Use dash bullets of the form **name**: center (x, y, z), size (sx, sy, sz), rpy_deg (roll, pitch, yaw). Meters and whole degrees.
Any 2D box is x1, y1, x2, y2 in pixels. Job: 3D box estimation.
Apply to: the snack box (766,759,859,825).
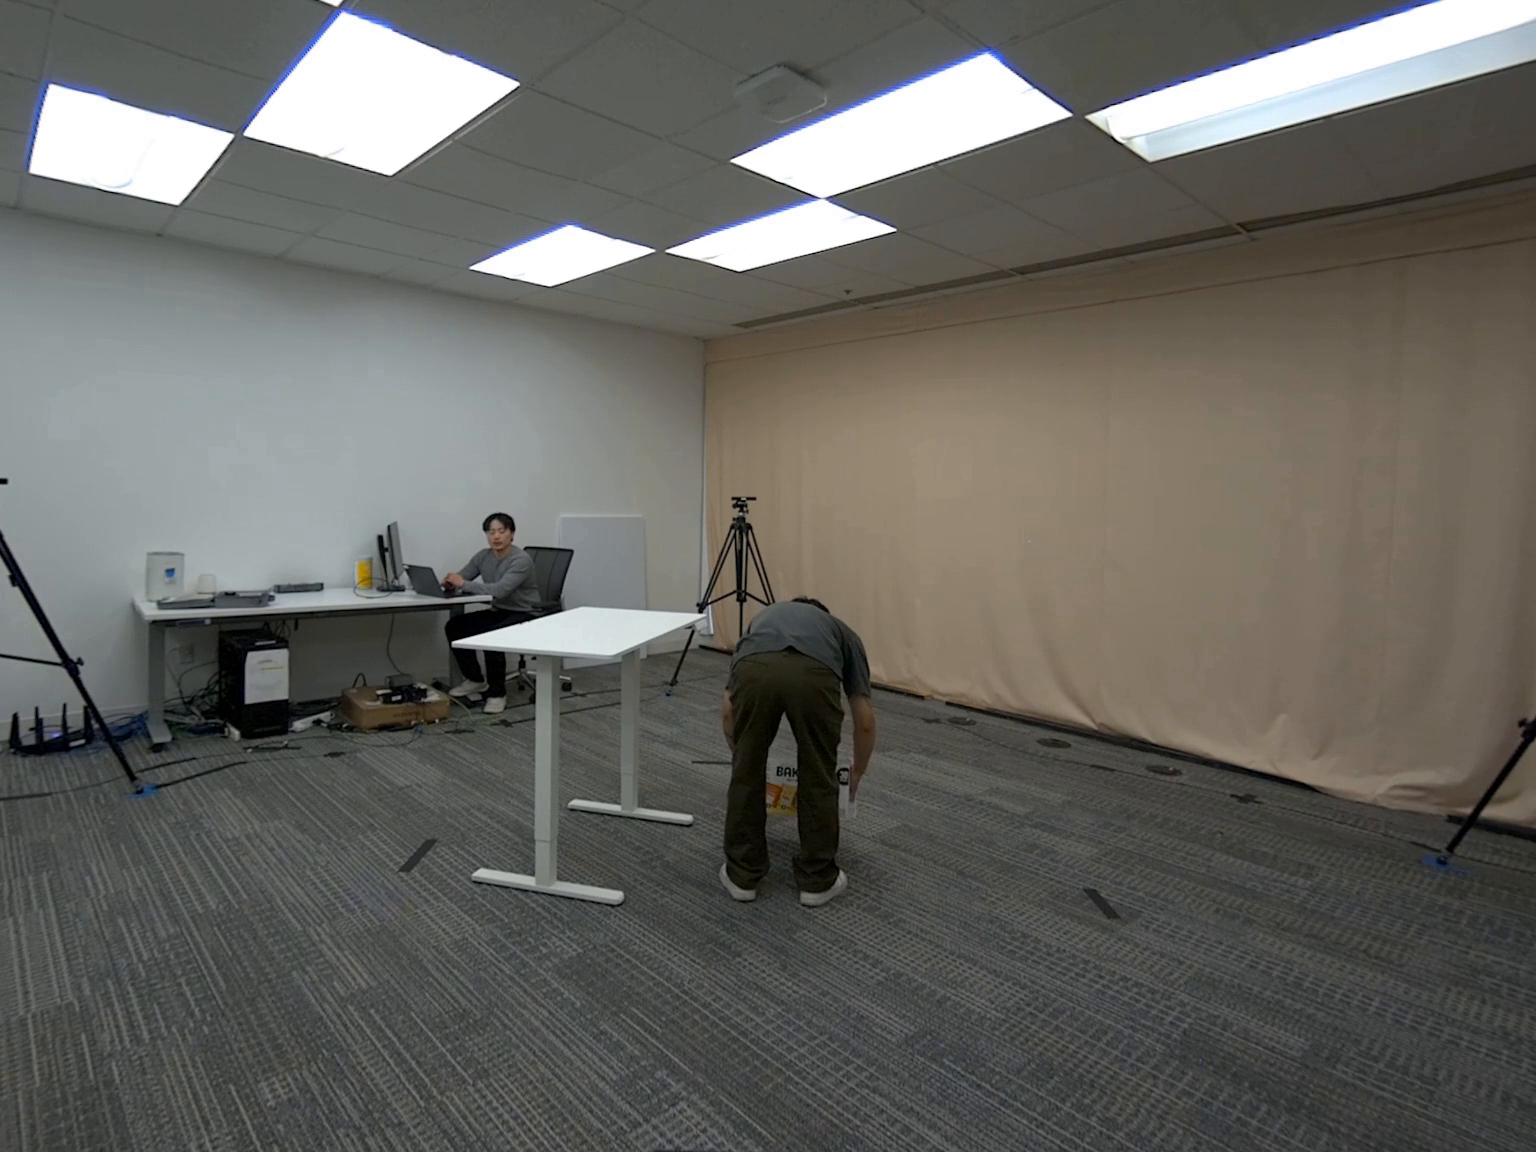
- **snack box**: center (0.136, 0.841, 3.340), size (0.409, 0.207, 0.333), rpy_deg (2, -13, 13)
